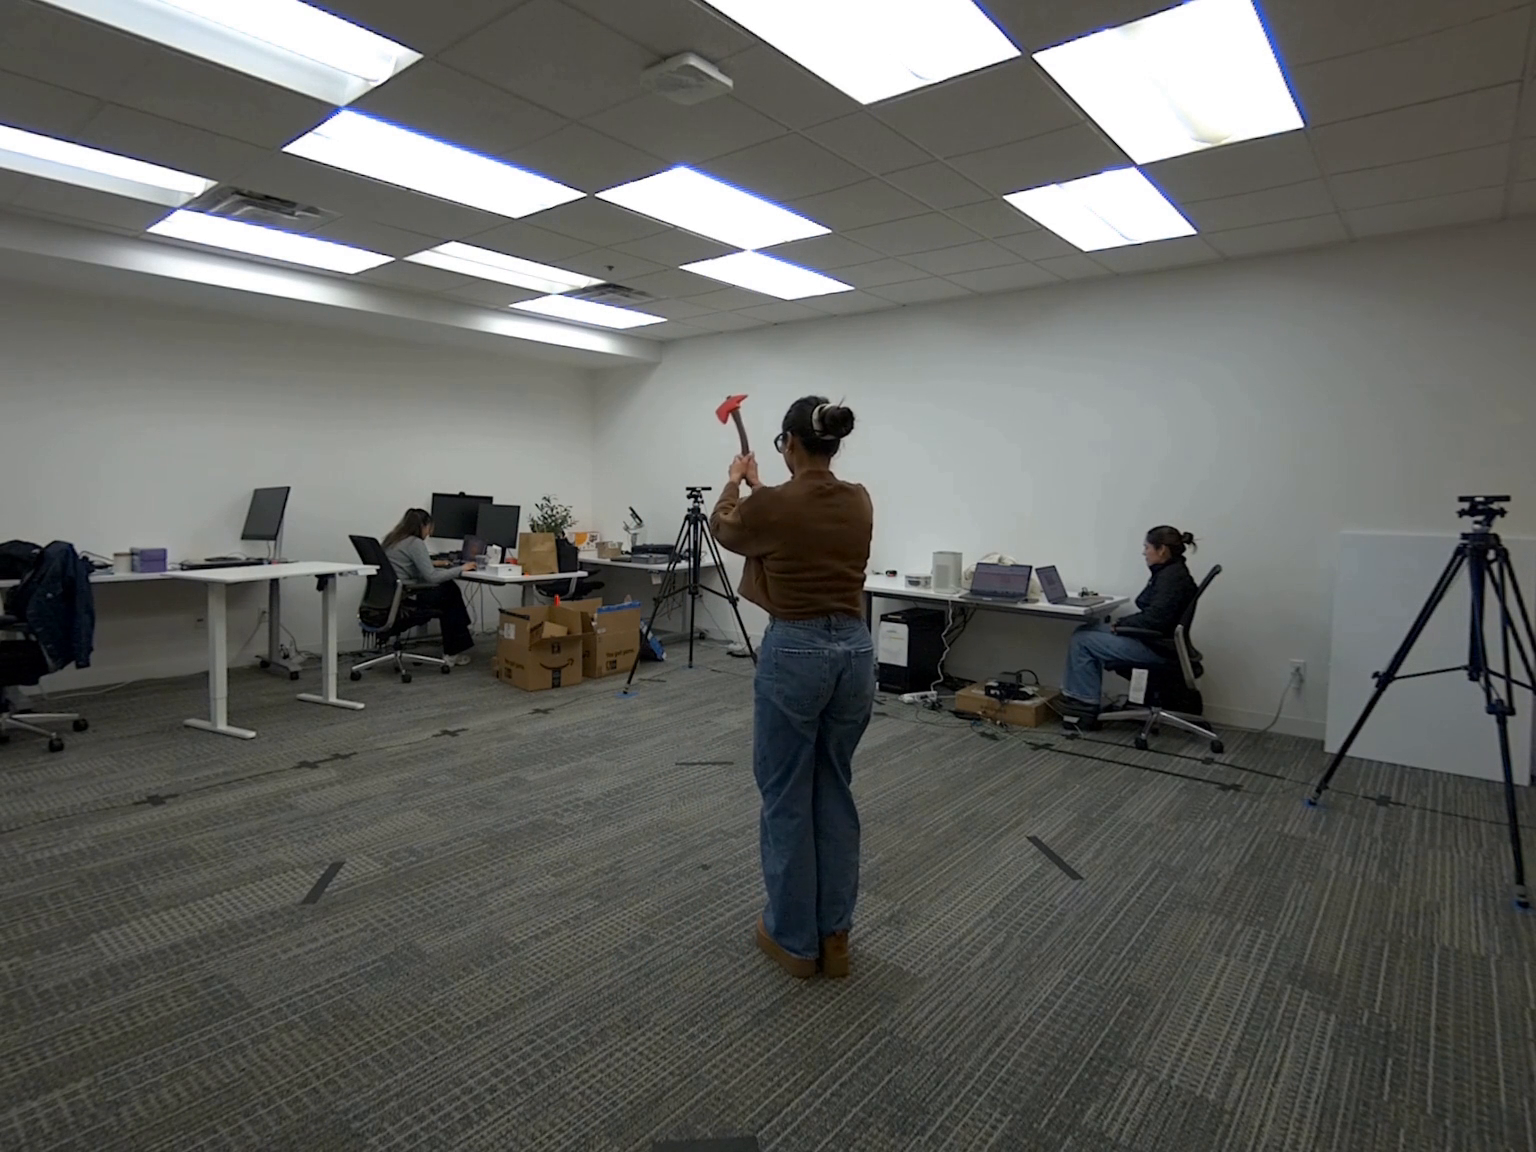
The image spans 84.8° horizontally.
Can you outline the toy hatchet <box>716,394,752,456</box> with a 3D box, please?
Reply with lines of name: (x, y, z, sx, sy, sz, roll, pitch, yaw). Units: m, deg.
toy hatchet: (-0.137, -0.487, 2.923, 0.134, 0.272, 0.029, -7, -9, 26)
